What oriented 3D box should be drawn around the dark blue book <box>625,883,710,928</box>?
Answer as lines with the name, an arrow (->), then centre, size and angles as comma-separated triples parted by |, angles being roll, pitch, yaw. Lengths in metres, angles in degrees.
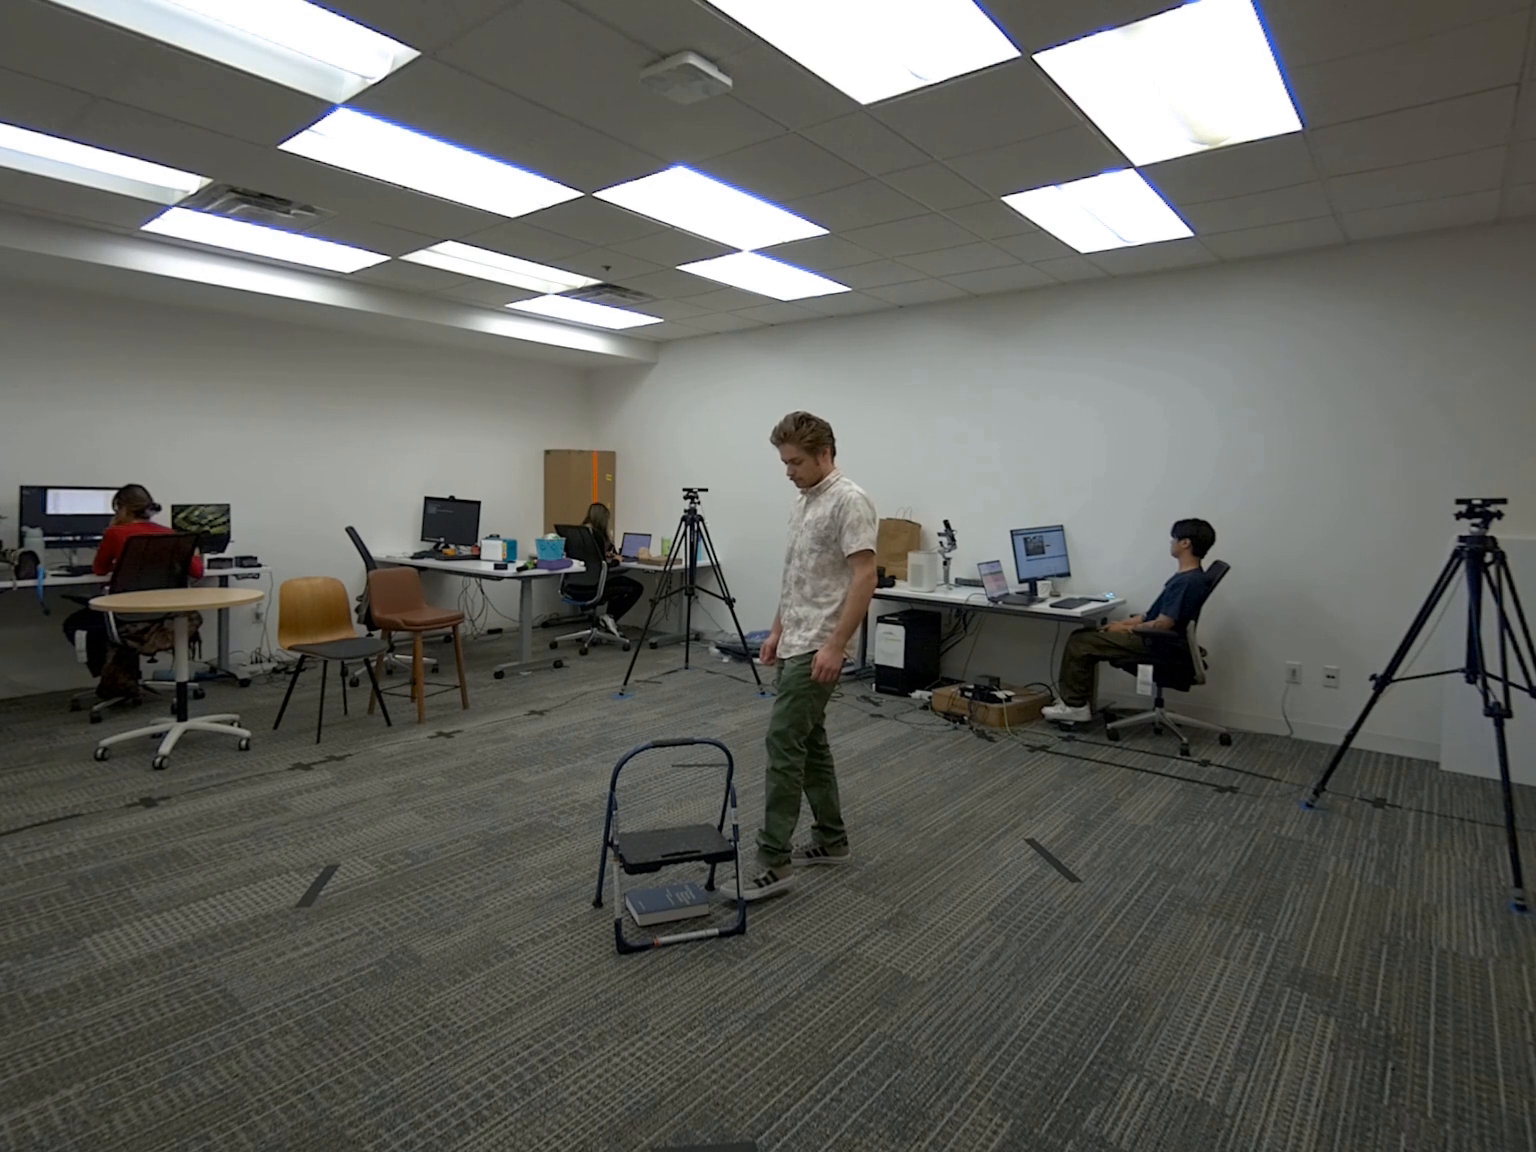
dark blue book -> -0.349, 1.078, 2.786 | 0.239, 0.045, 0.167 | 0, 4, -23
